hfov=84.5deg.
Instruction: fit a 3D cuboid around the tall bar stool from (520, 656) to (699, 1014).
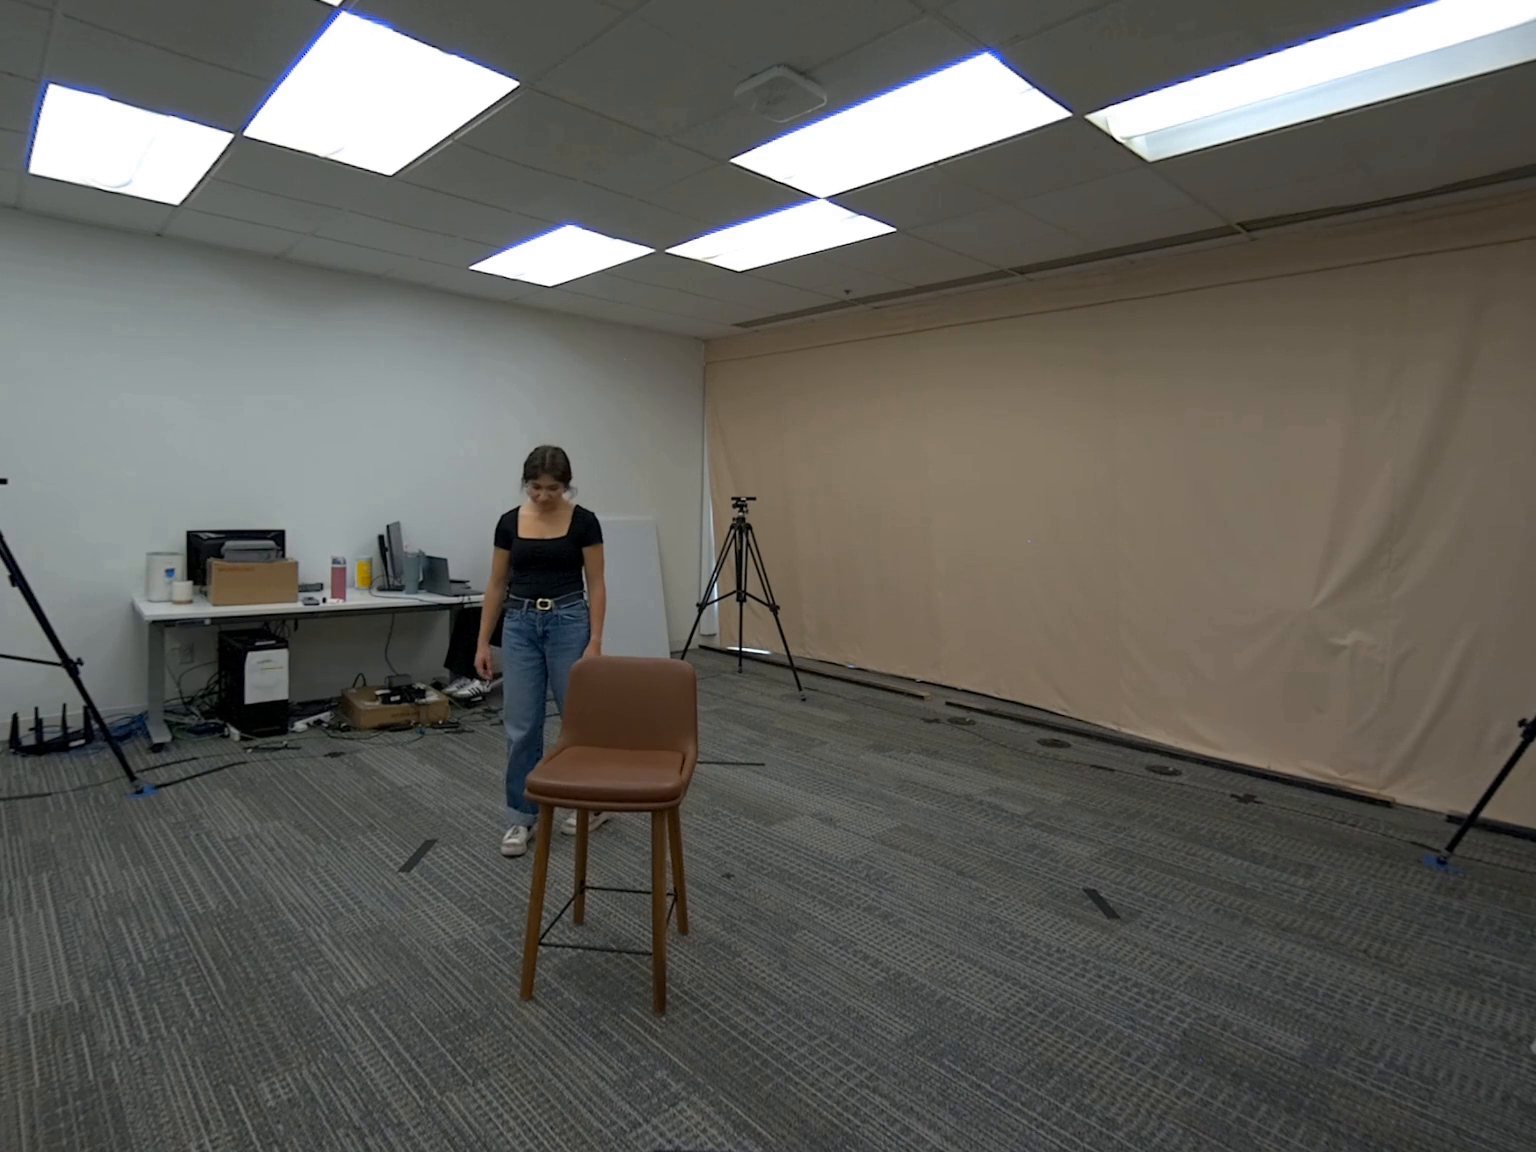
[{"bbox_3d":[-0.459,0.725,2.482,0.459,0.889,0.465,1,2,7],"label":"tall bar stool"}]
